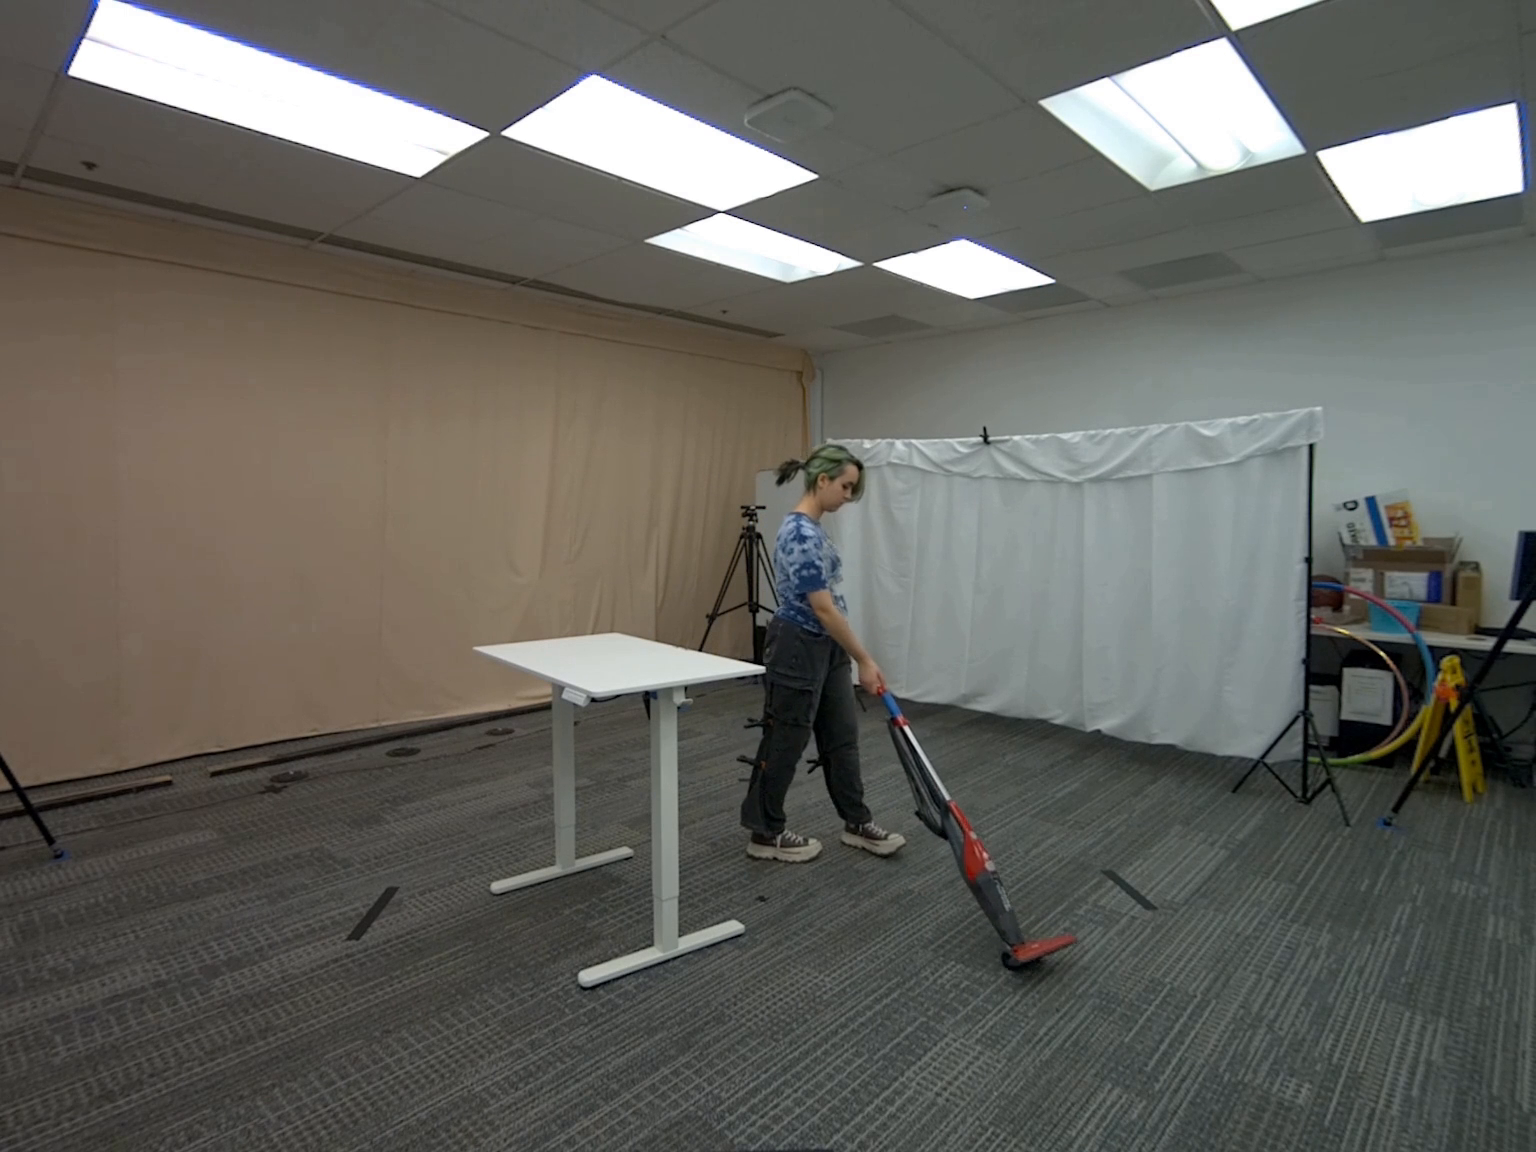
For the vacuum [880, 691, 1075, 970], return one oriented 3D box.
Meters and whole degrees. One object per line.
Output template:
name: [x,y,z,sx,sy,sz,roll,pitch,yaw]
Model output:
vacuum: [0.602,0.783,2.836,0.245,0.144,1.082,0,43,-33]
